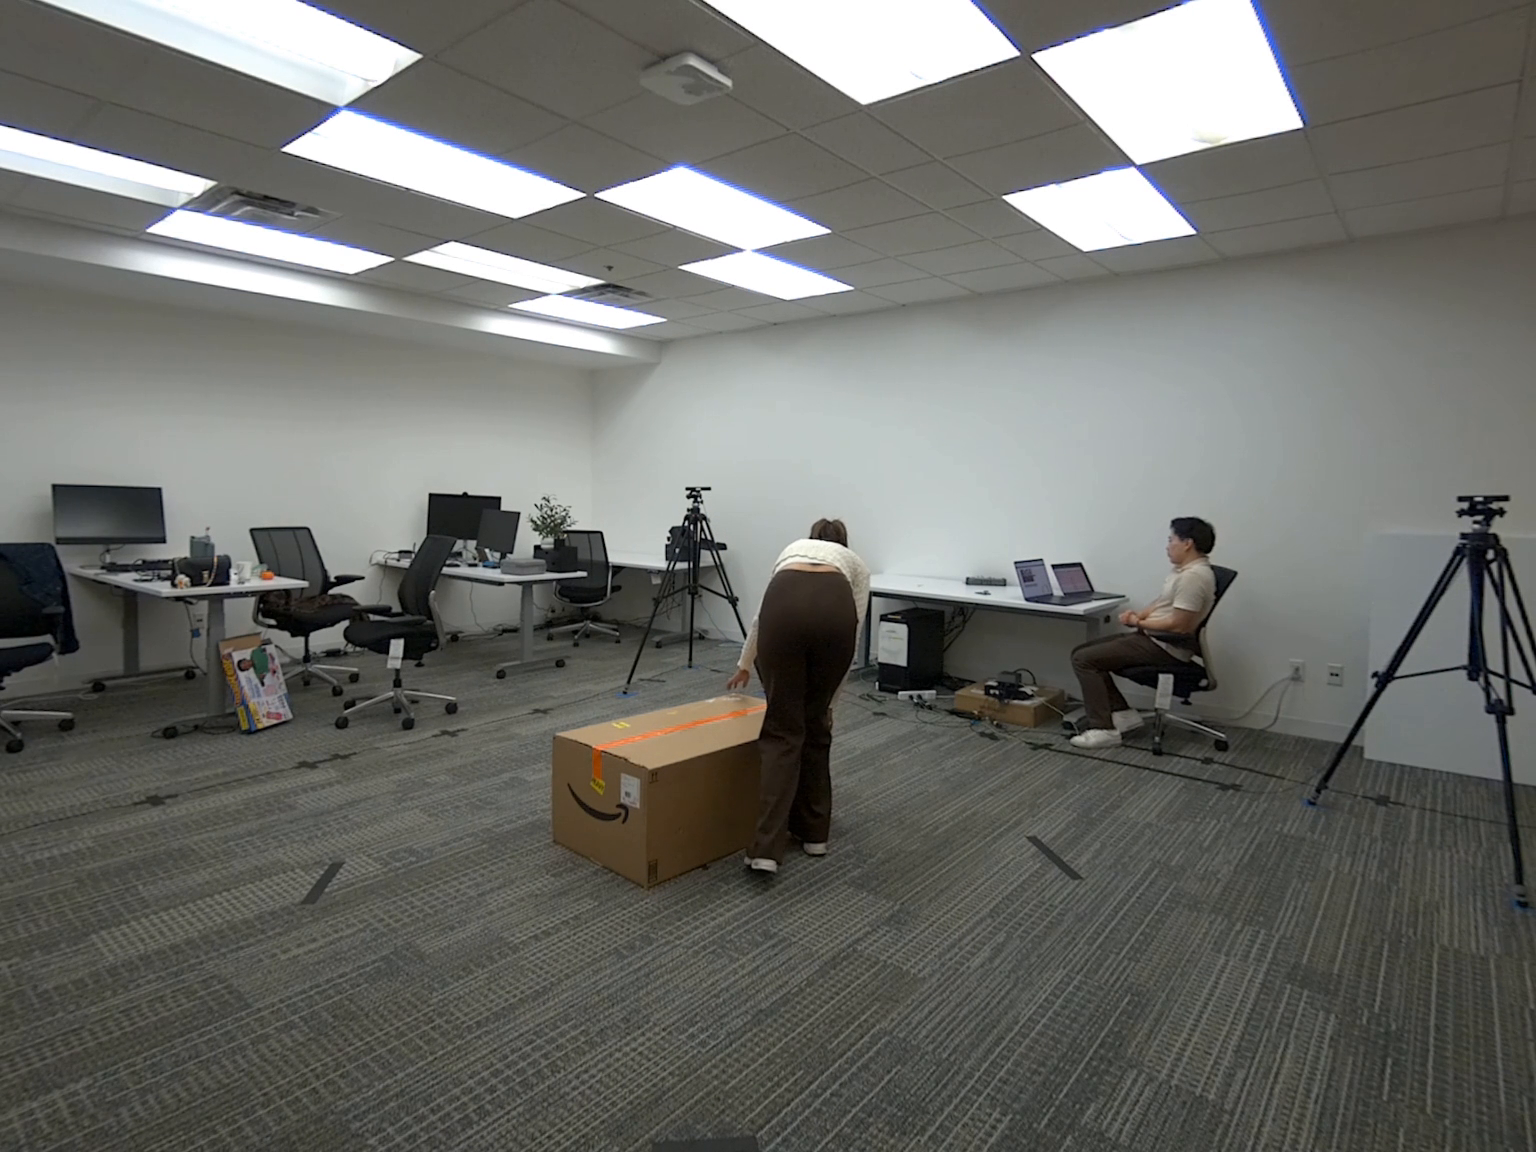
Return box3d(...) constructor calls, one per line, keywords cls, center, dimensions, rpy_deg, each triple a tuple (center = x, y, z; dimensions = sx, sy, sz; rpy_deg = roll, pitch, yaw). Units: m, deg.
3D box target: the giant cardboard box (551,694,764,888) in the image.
box3d(cls="giant cardboard box", center=(-0.305, 0.813, 3.478), dimensions=(0.597, 0.425, 0.995), rpy_deg=(5, 7, 43))
